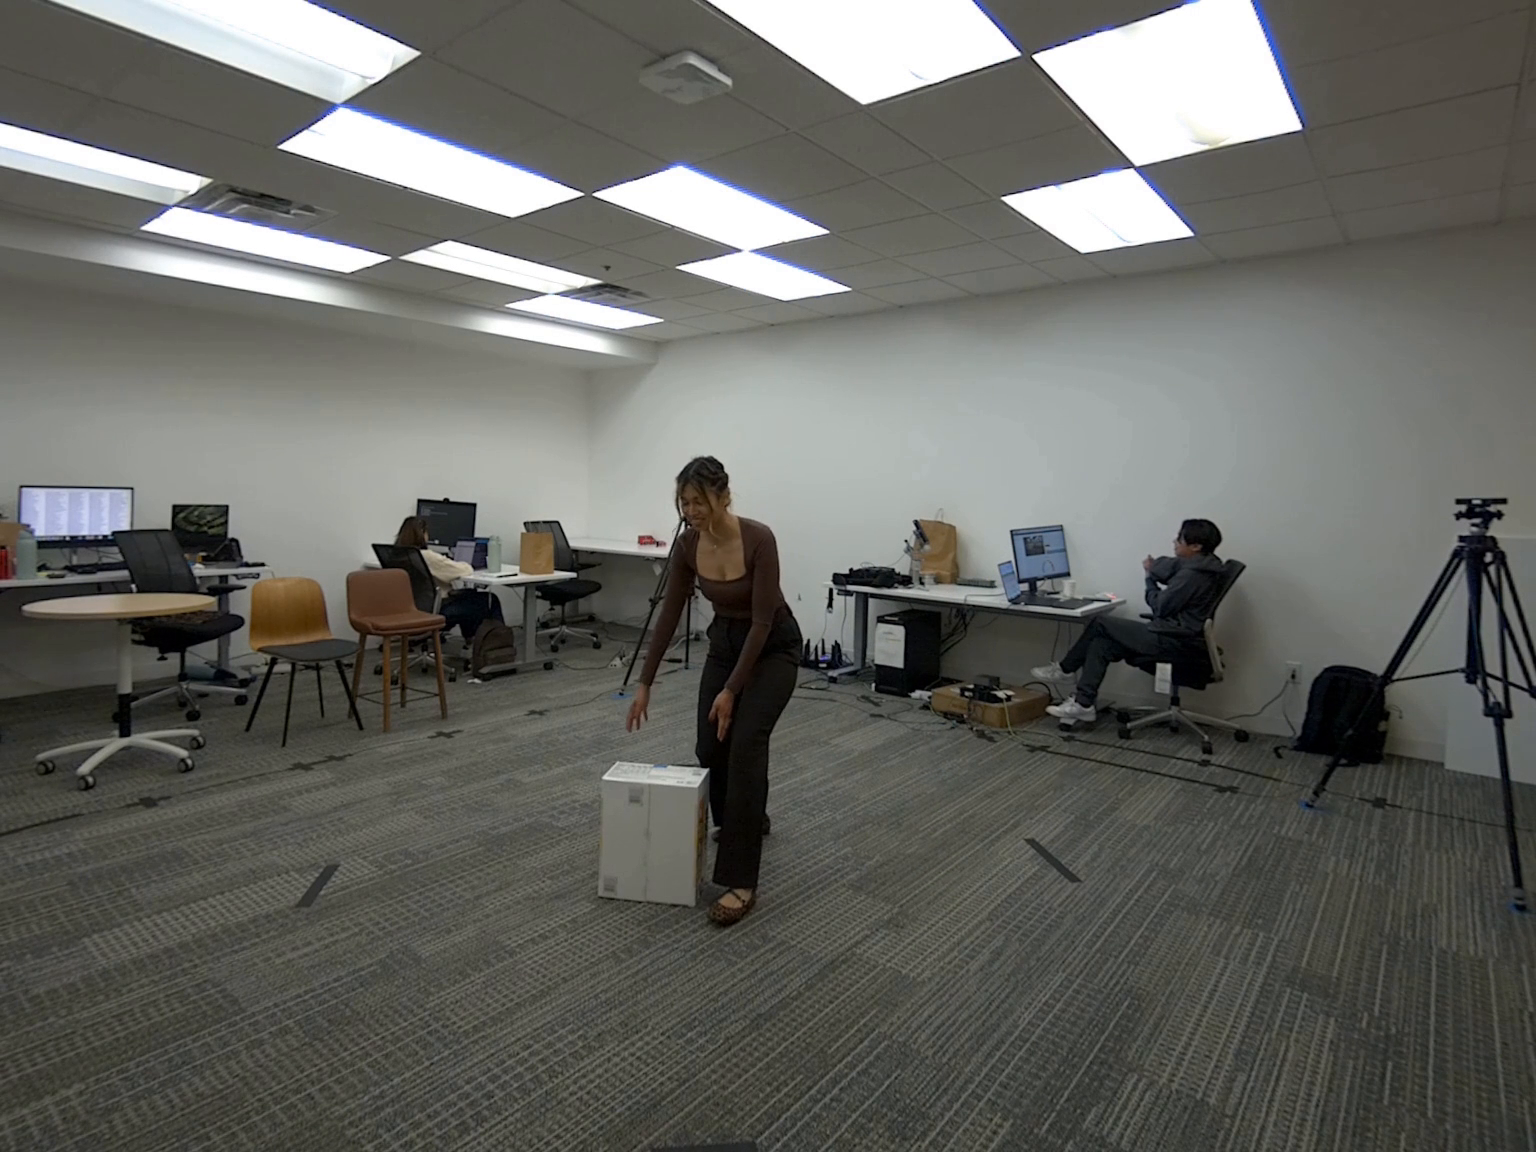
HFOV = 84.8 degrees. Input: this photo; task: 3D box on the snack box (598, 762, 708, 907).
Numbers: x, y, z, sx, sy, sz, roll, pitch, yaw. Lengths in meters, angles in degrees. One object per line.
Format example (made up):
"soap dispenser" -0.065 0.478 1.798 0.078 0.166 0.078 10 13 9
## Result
"snack box" -0.401 0.878 2.937 0.344 0.404 0.204 2 2 9
